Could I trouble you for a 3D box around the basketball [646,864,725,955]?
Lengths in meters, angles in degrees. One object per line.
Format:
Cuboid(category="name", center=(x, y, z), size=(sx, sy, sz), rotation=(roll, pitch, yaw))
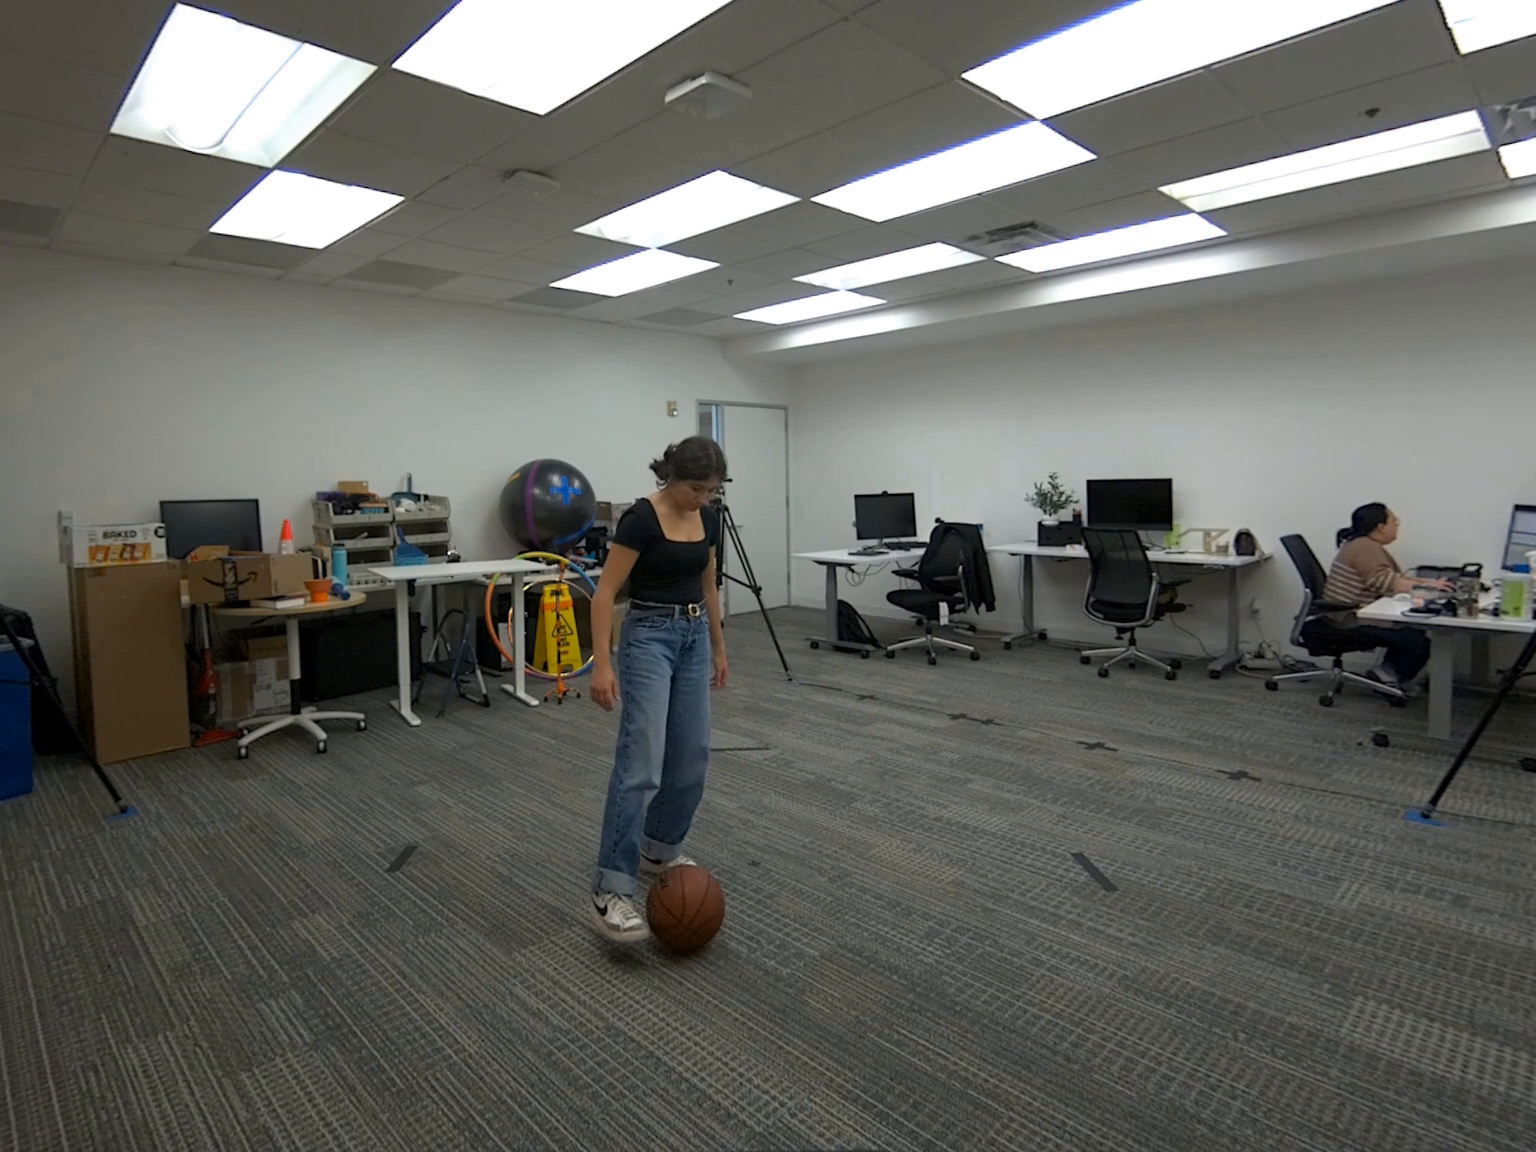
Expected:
Cuboid(category="basketball", center=(-0.245, 0.988, 2.562), size=(0.236, 0.235, 0.237), rotation=(-1, 5, -2))
